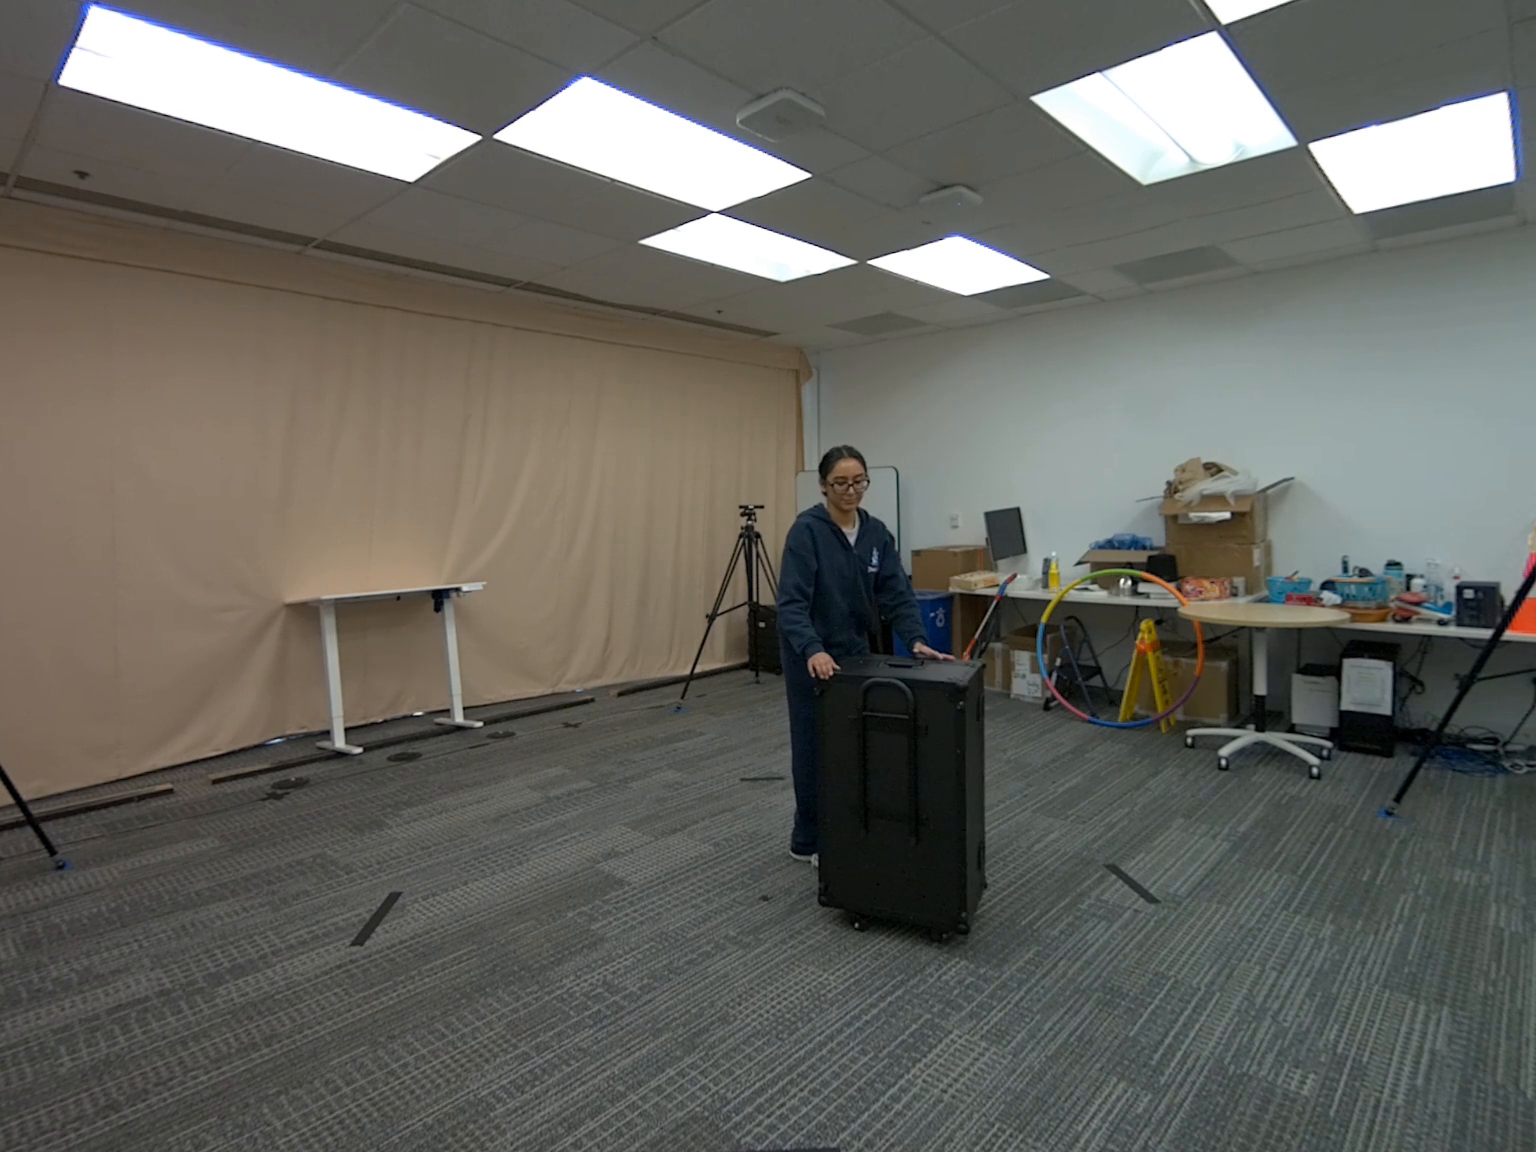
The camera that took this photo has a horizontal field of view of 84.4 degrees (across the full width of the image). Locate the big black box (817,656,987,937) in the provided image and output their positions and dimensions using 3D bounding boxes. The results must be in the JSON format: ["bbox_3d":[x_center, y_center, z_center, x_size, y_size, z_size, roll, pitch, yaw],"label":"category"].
[{"bbox_3d":[0.454,0.727,2.793,0.535,0.859,0.387,0,4,26],"label":"big black box"}]
